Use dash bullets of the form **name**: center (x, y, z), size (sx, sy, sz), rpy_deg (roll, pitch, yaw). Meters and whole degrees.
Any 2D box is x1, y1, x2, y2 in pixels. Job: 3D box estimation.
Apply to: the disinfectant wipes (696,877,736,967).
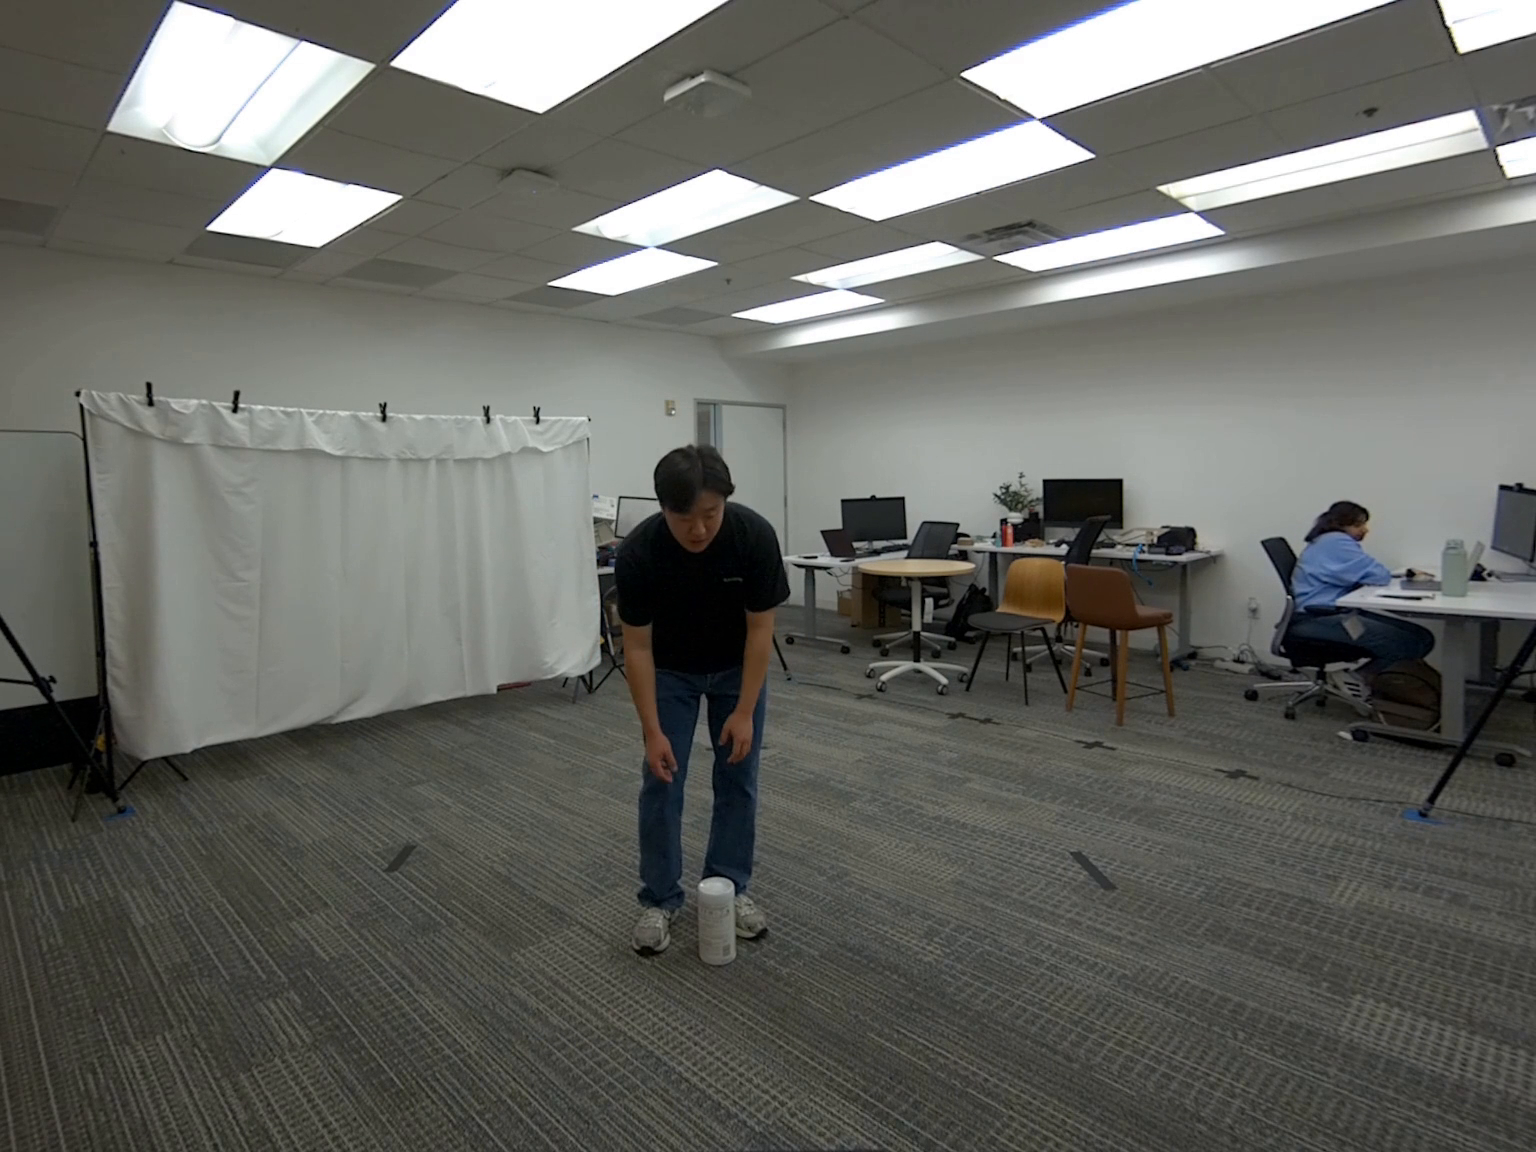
- **disinfectant wipes**: center (-0.143, 1.017, 2.497), size (0.118, 0.216, 0.118), rpy_deg (-1, 6, -2)
